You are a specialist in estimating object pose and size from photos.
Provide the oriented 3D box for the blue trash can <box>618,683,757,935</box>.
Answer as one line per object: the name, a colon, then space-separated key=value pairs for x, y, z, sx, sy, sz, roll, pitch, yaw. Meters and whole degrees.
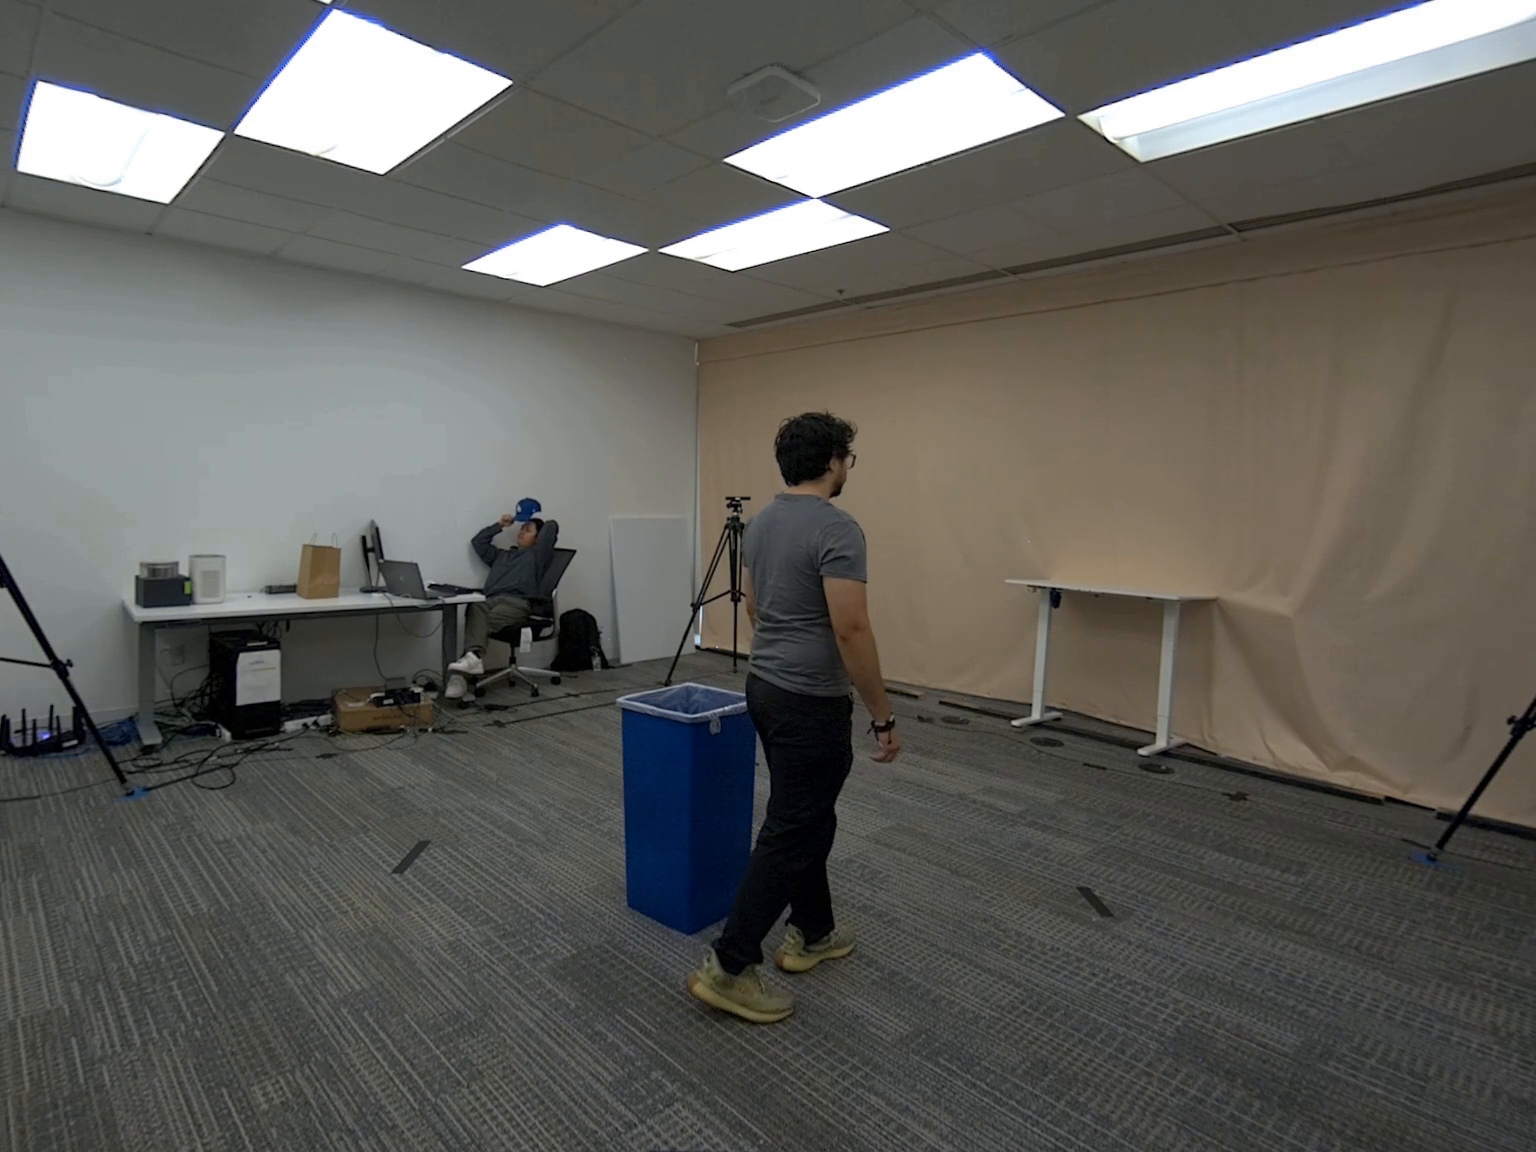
blue trash can: x=-0.283 y=0.769 z=2.863 sx=0.383 sy=0.712 sz=0.369 roll=4 pitch=4 yaw=39
